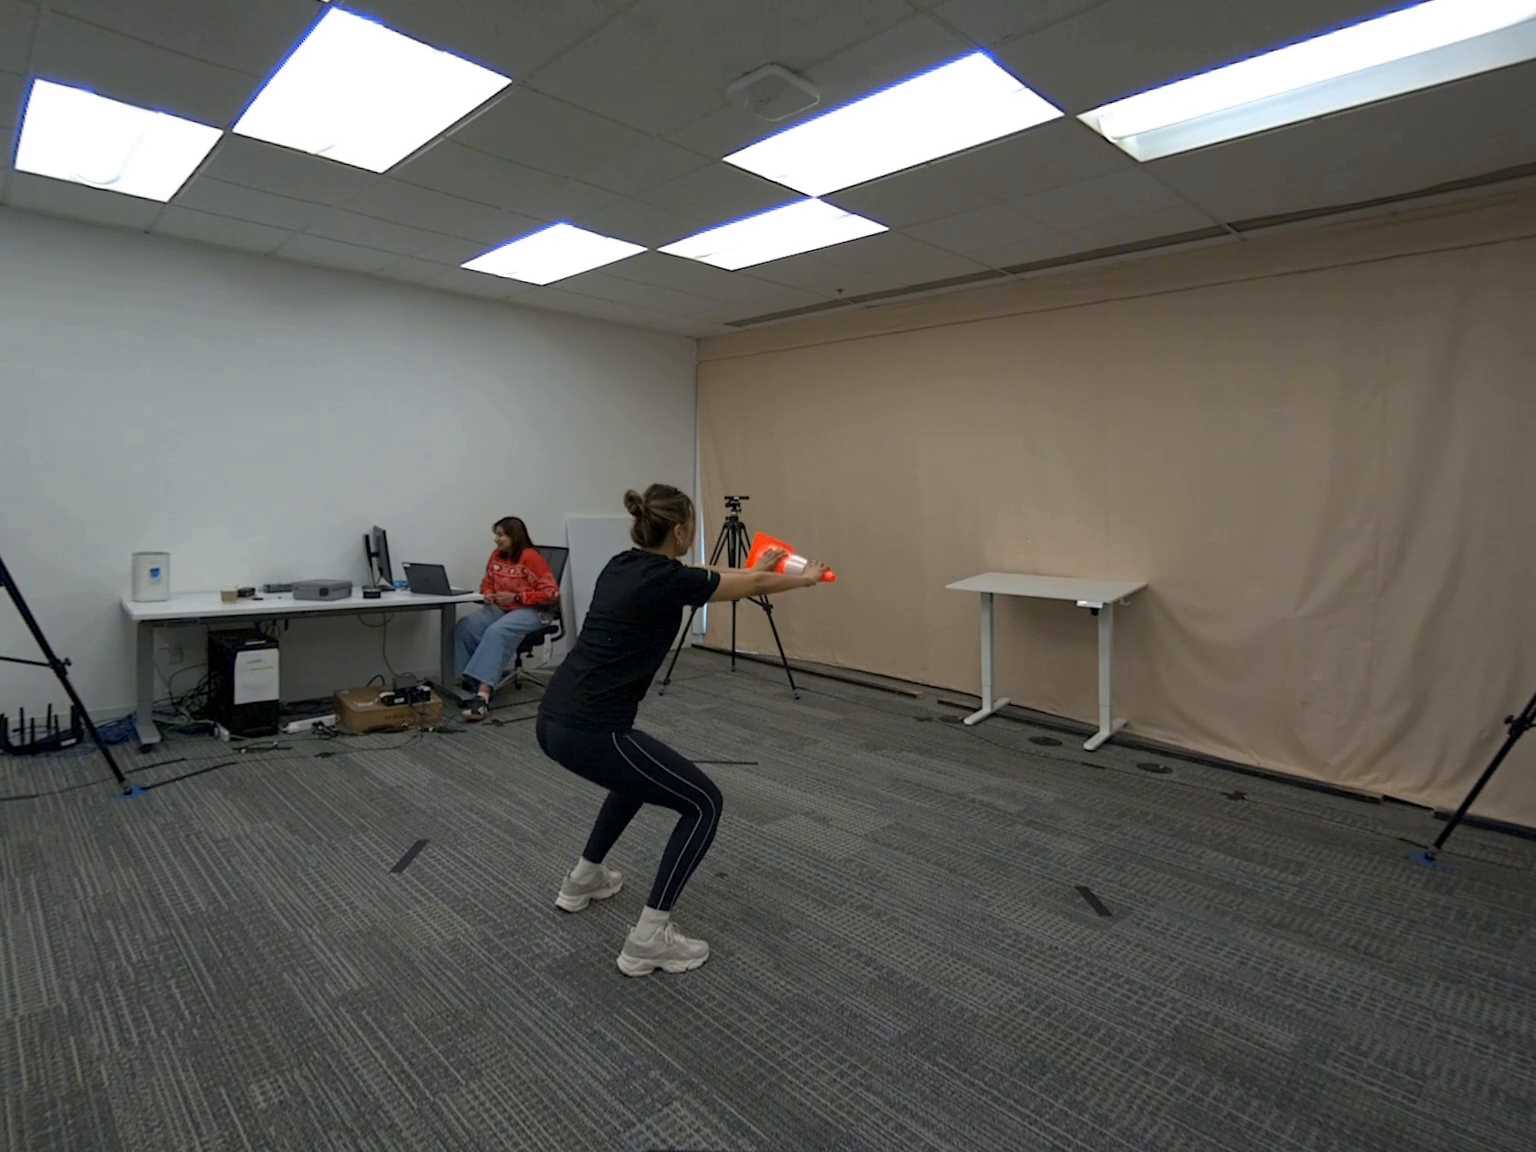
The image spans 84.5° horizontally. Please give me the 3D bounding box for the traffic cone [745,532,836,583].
[{"bbox_3d":[0.099,-0.019,3.117,0.197,0.205,0.394,23,-5,-36],"label":"traffic cone"}]
